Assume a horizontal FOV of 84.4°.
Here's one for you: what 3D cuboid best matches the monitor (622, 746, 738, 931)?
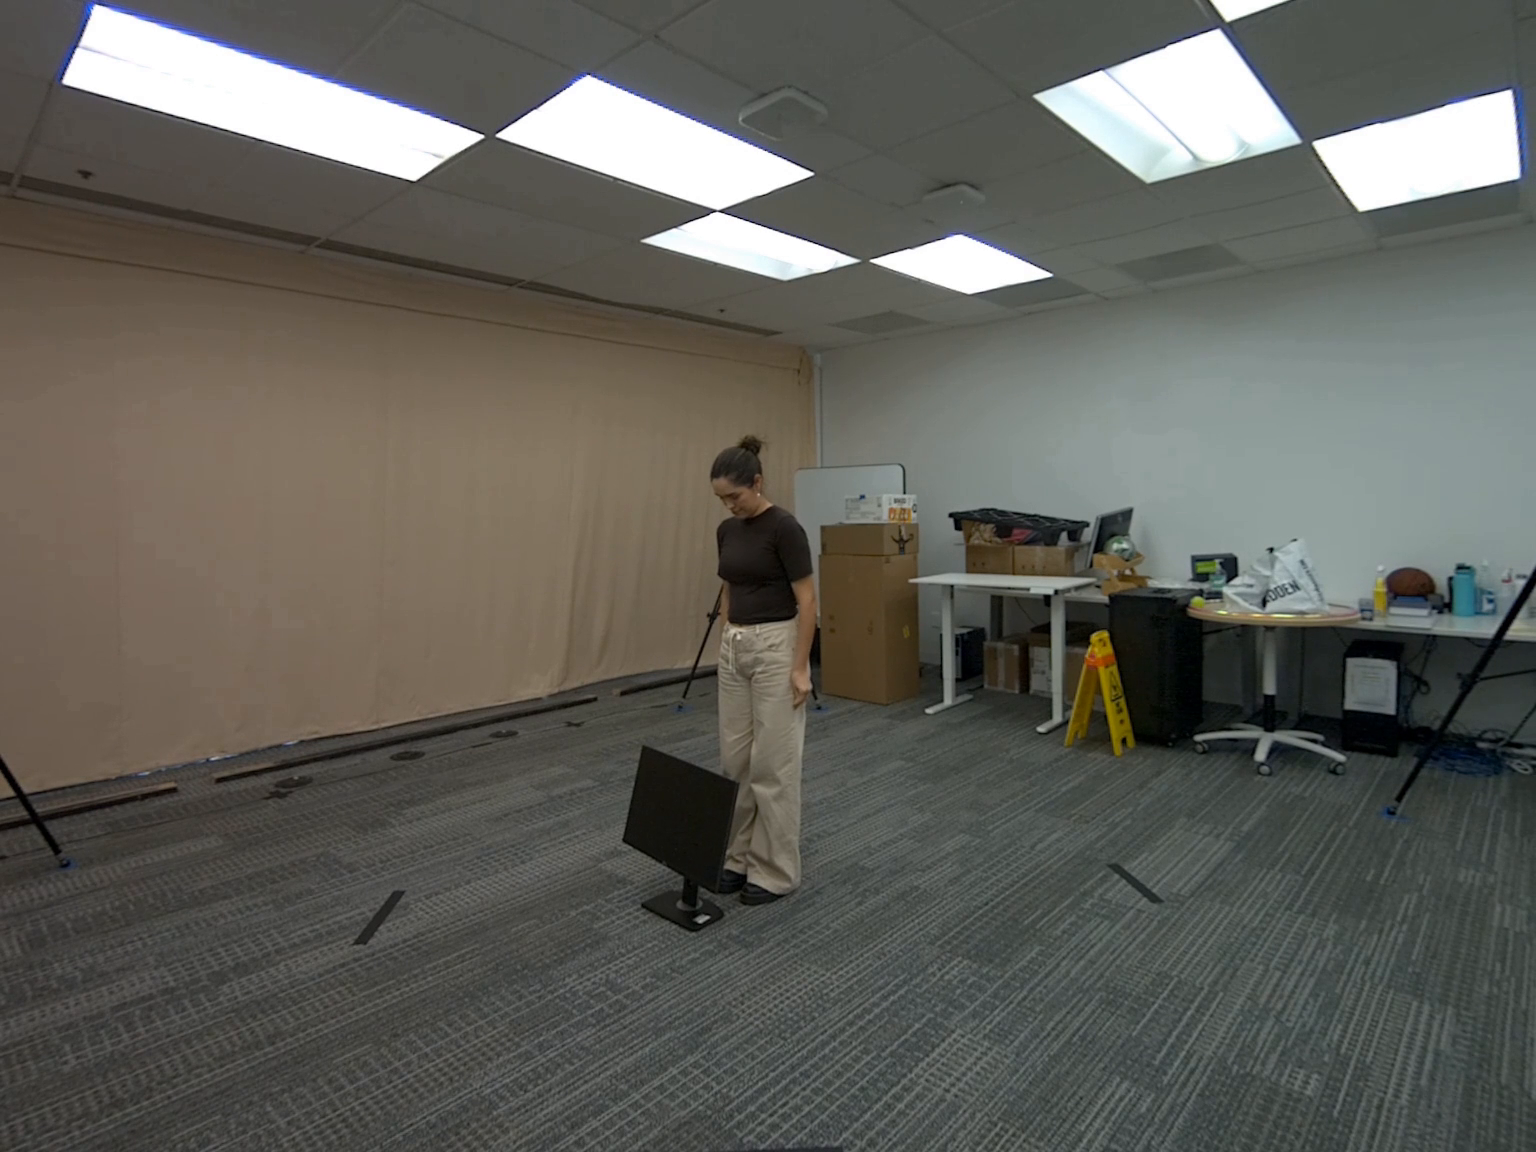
[{"bbox_3d":[-0.283,0.904,2.895,0.181,0.522,0.557,-2,4,-44],"label":"monitor"}]
